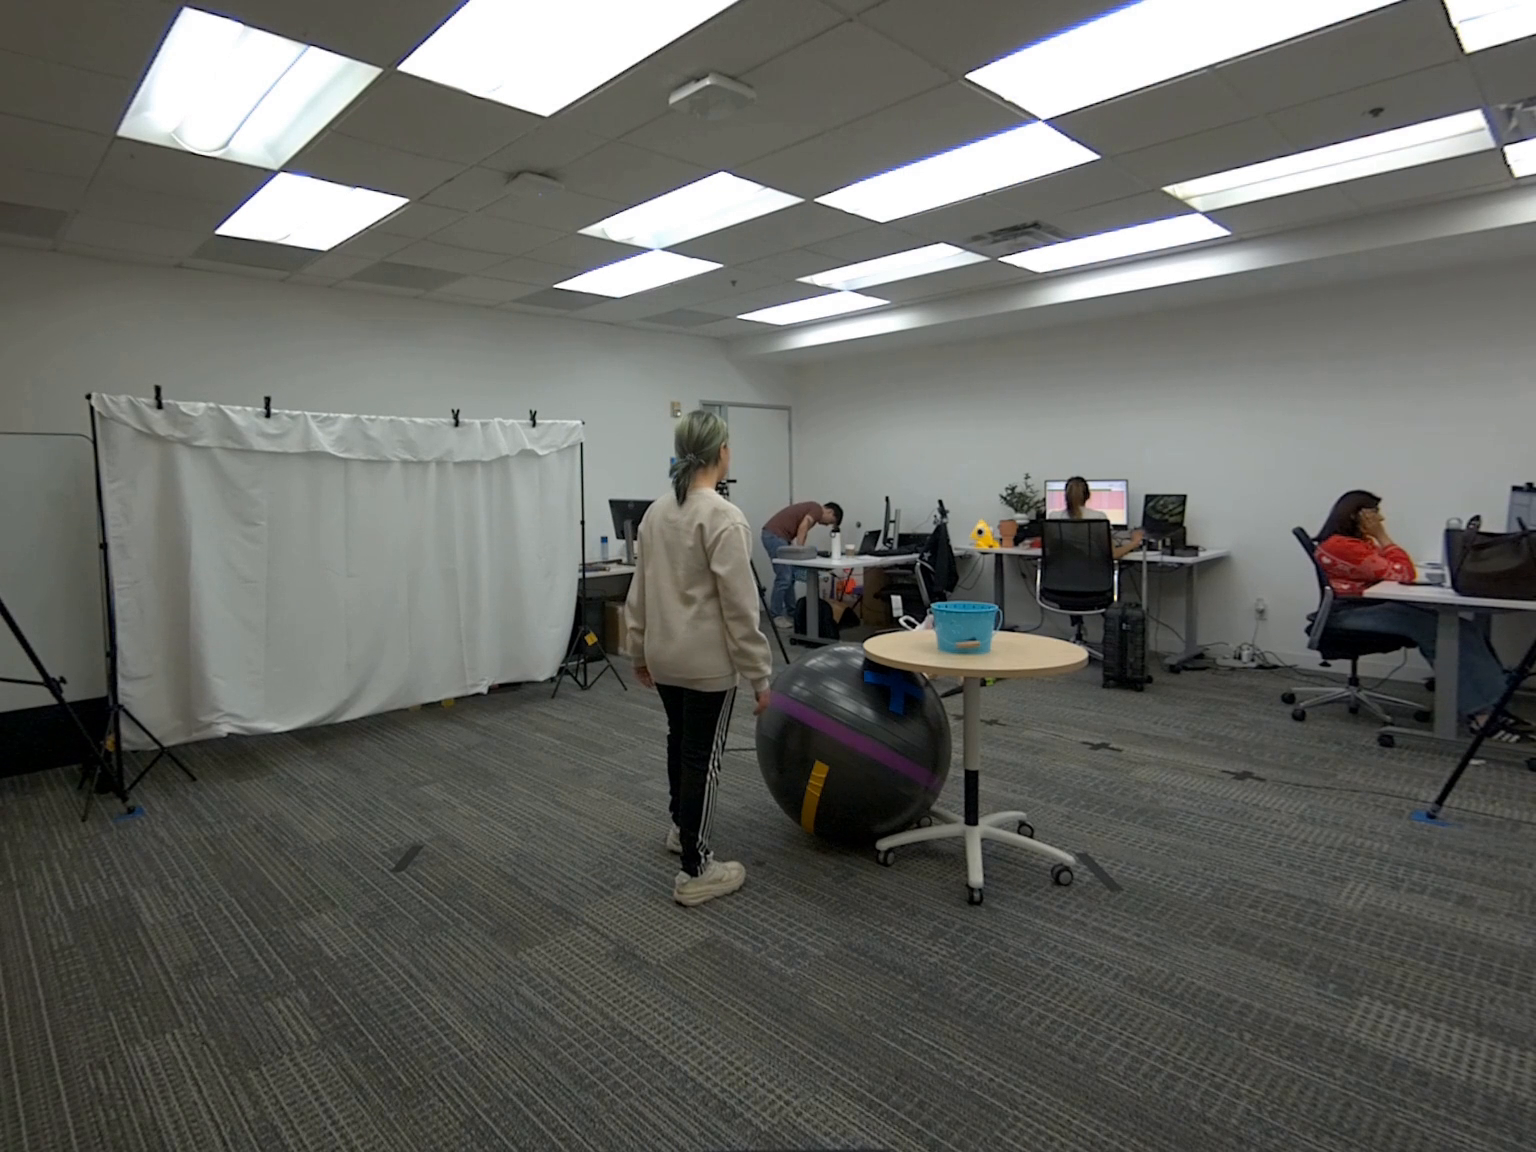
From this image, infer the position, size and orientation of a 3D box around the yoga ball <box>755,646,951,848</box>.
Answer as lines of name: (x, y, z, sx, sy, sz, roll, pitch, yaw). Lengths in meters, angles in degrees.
yoga ball: (0.342, 0.652, 3.347, 0.757, 0.755, 0.762, -1, 5, -2)
